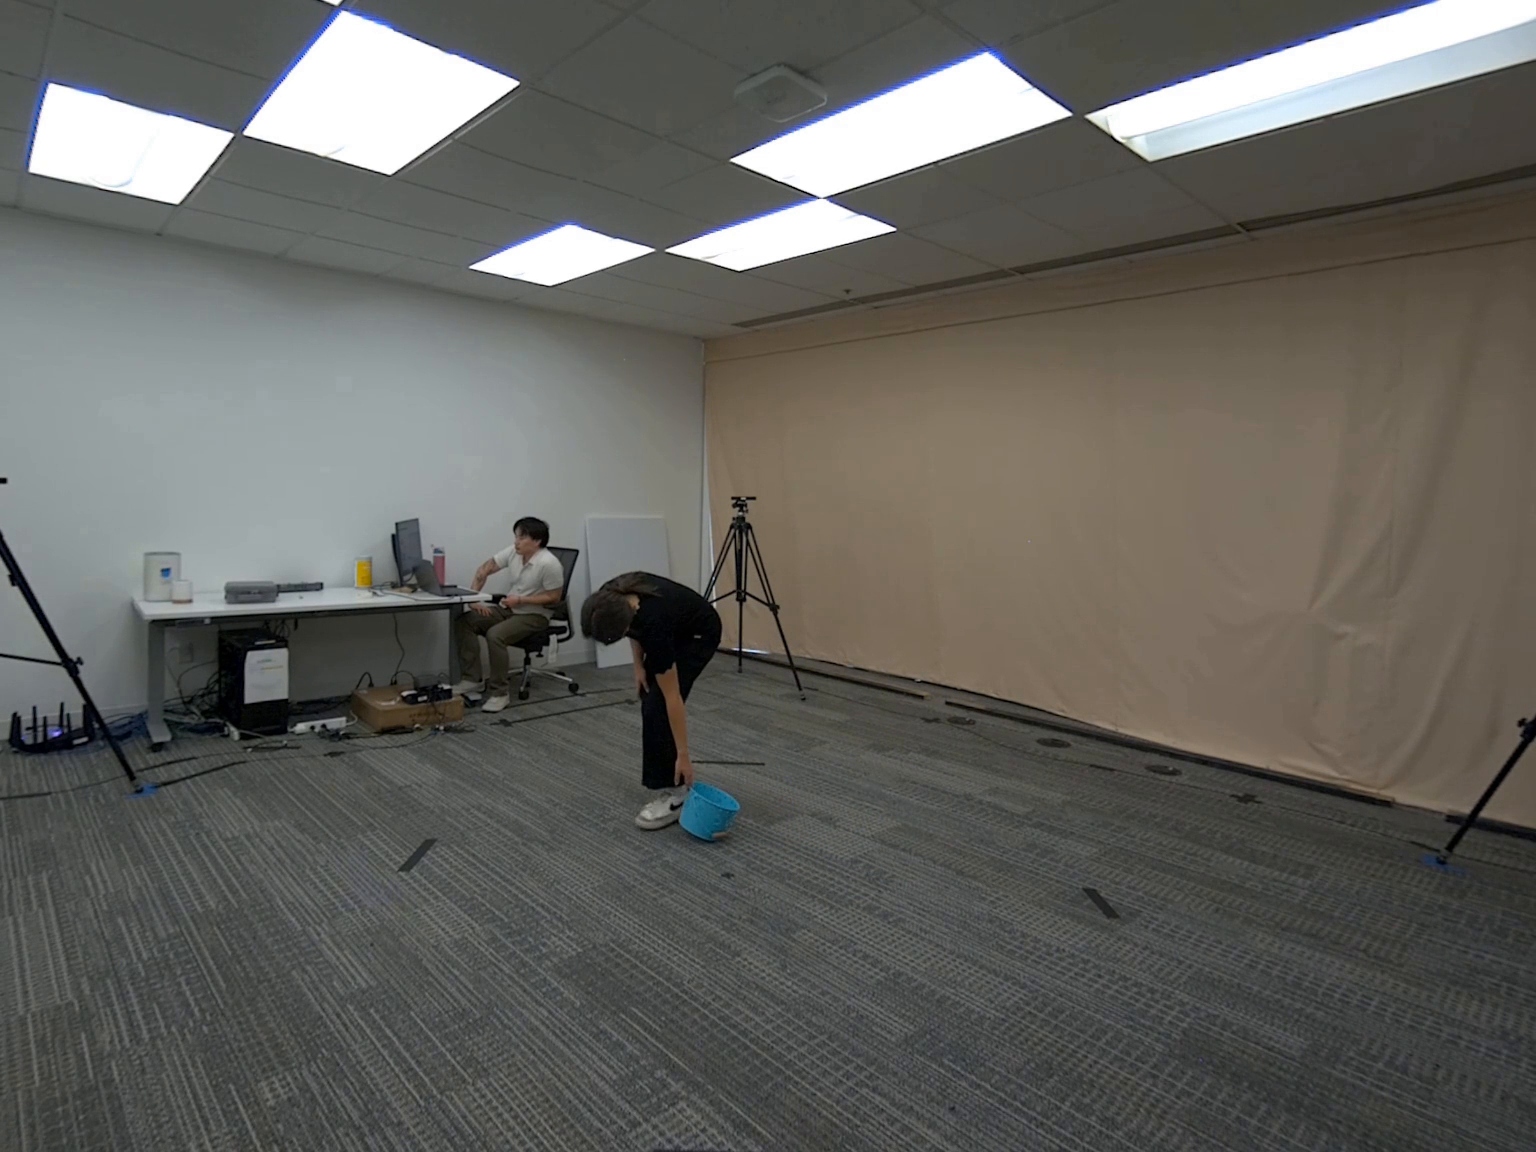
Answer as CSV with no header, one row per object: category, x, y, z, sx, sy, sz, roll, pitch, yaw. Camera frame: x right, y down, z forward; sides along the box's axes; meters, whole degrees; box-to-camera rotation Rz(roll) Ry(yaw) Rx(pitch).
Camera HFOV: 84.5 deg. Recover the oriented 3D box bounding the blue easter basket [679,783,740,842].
blue easter basket,-0.260,0.968,3.455,0.243,0.156,0.244,24,1,-2
